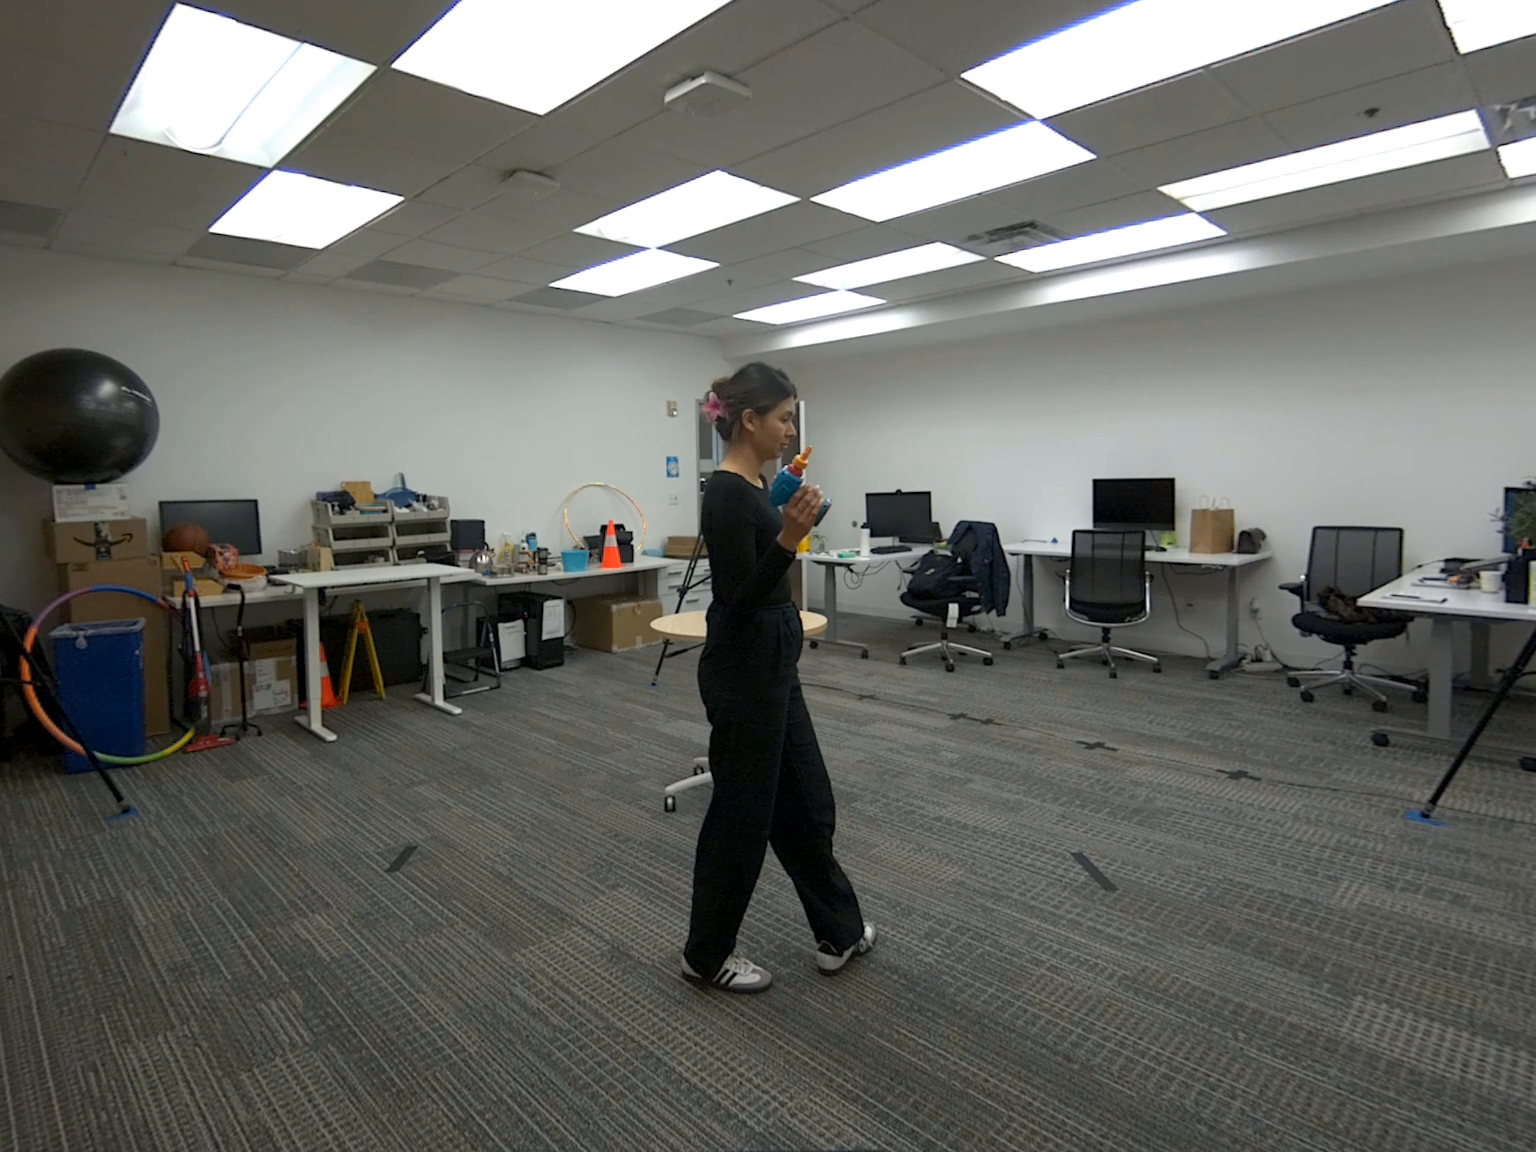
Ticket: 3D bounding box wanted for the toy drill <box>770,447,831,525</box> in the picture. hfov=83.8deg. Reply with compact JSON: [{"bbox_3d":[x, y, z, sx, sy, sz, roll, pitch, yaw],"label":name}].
[{"bbox_3d":[0.102,-0.215,1.970,0.146,0.169,0.061,31,22,-1],"label":"toy drill"}]
